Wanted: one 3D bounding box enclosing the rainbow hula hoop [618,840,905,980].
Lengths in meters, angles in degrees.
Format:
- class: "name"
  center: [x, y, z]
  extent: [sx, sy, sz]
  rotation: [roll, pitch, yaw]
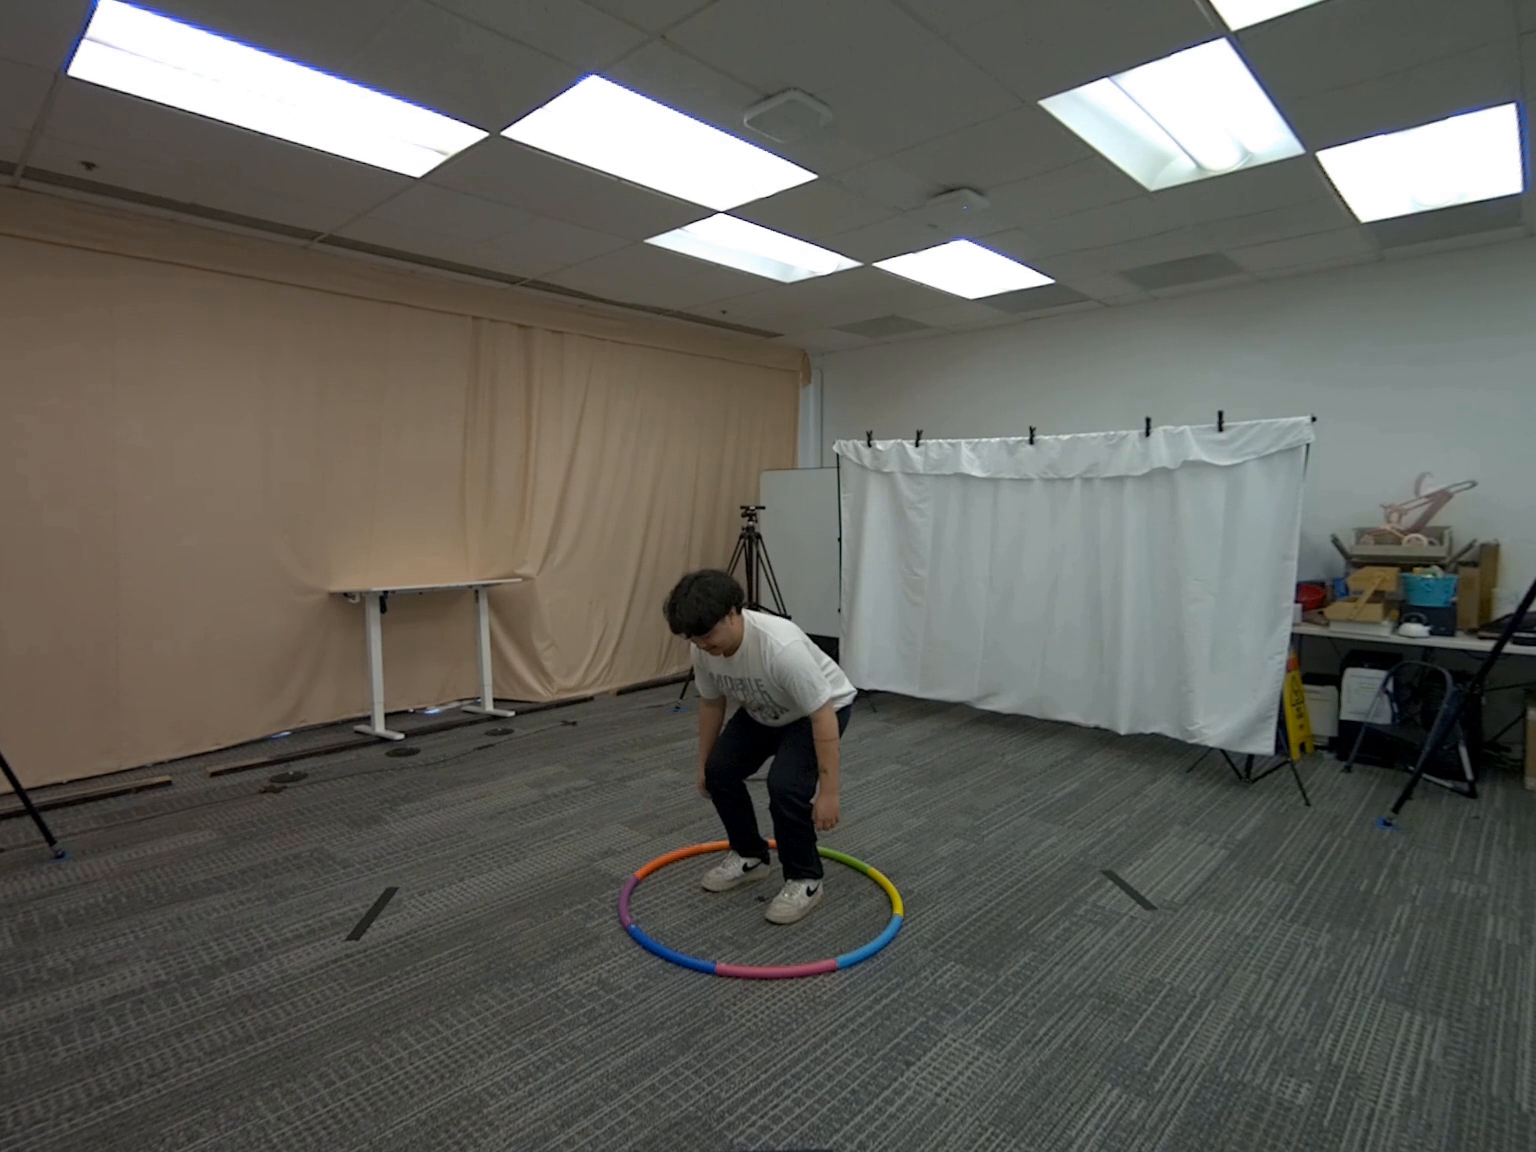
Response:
- class: "rainbow hula hoop"
  center: [-0.027, 1.123, 2.955]
  extent: [0.985, 0.051, 0.989]
  rotation: [0, 5, -2]
